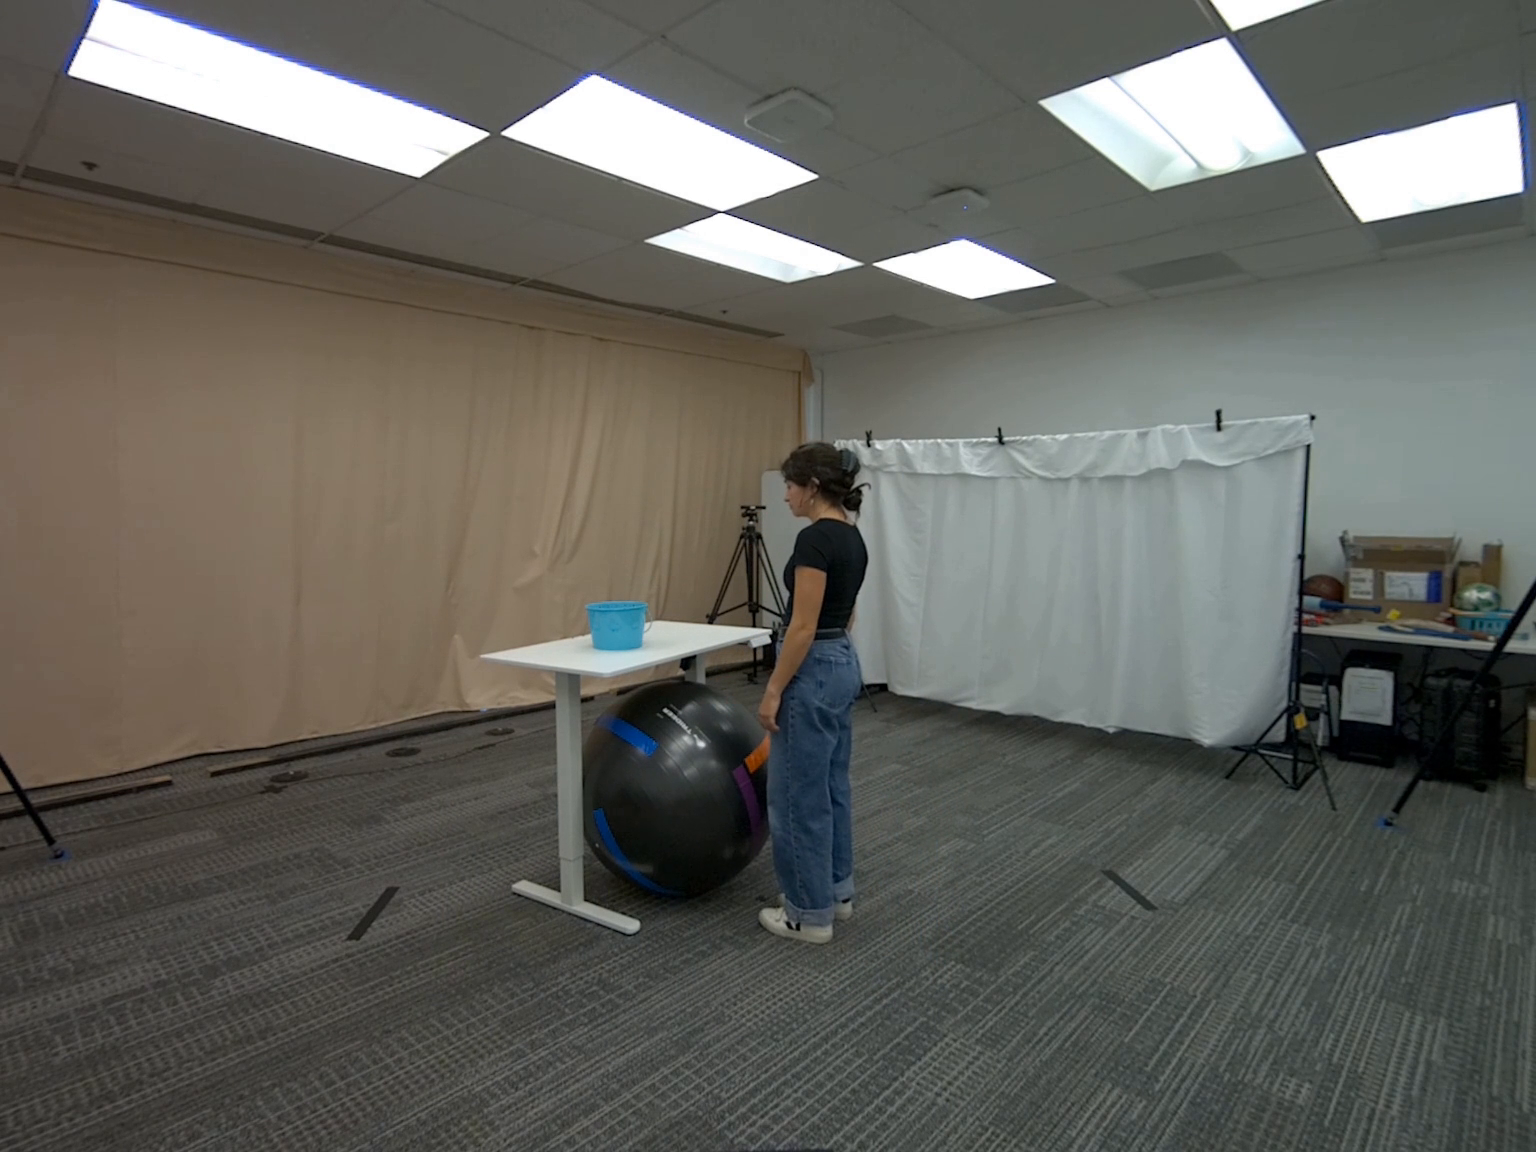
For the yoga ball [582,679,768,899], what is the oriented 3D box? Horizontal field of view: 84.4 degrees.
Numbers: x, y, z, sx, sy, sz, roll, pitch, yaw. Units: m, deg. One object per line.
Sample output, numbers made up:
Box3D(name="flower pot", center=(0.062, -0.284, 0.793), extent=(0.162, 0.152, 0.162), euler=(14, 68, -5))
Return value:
Box3D(name="yoga ball", center=(-0.336, 0.775, 3.097), extent=(0.757, 0.756, 0.760), euler=(0, 4, -2))
